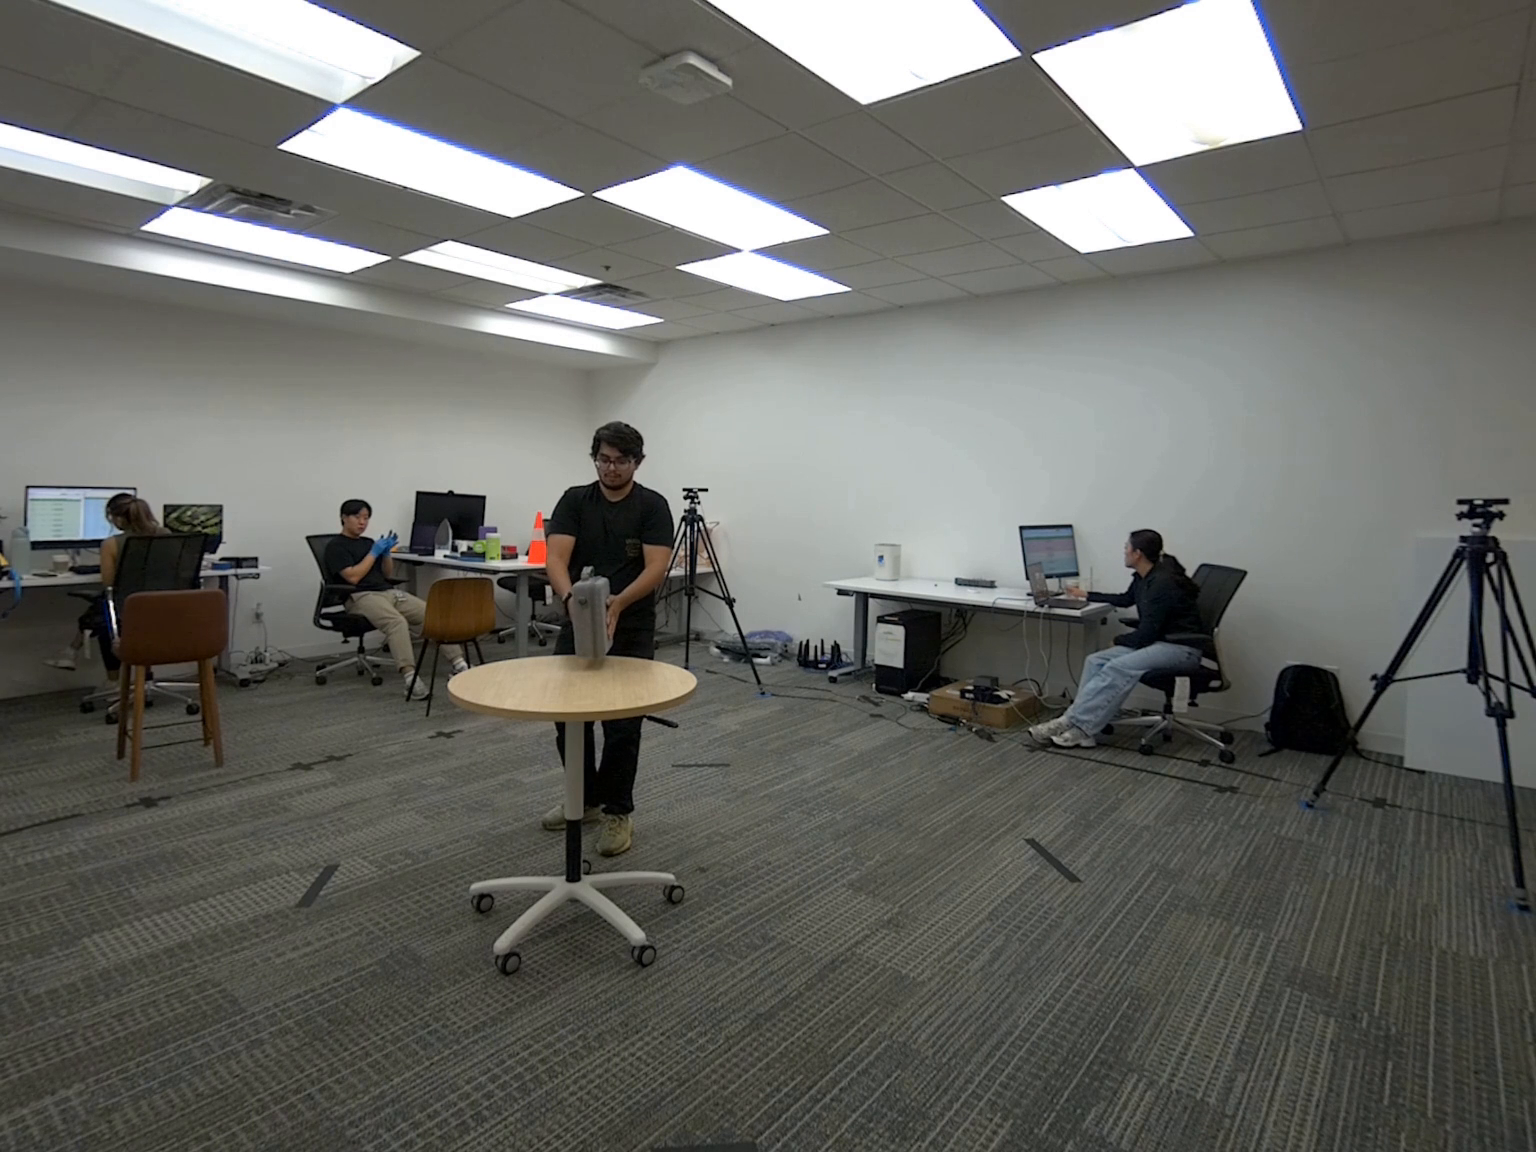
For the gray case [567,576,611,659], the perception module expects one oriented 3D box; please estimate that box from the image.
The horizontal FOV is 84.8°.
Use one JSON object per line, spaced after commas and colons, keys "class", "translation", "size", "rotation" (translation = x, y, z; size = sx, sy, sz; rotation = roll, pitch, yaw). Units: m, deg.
{"class": "gray case", "translation": [-0.618, 0.129, 2.896], "size": [0.104, 0.260, 0.259], "rotation": [-4, 3, -6]}
